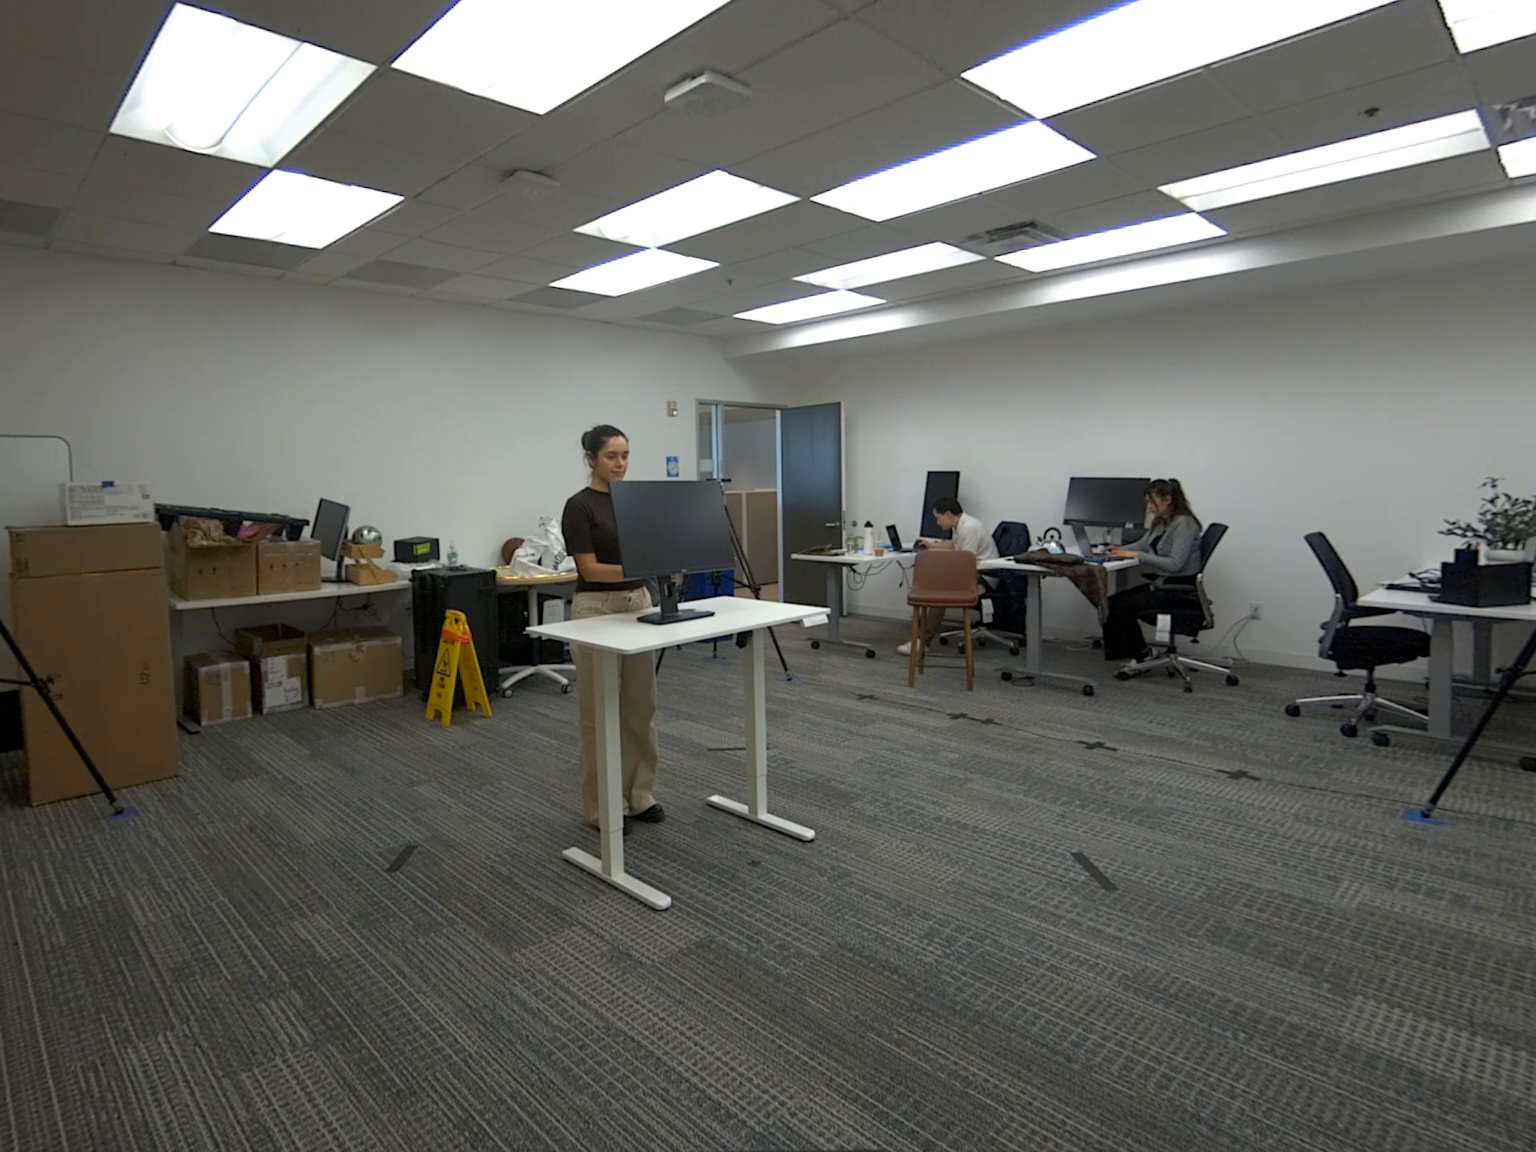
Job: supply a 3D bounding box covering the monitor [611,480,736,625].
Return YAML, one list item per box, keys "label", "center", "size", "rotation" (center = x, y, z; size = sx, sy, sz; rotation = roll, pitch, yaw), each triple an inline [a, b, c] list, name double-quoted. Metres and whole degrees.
- label: "monitor"
  center: [-0.358, -0.095, 3.183]
  size: [0.192, 0.521, 0.525]
  rotation: [1, 4, 44]
